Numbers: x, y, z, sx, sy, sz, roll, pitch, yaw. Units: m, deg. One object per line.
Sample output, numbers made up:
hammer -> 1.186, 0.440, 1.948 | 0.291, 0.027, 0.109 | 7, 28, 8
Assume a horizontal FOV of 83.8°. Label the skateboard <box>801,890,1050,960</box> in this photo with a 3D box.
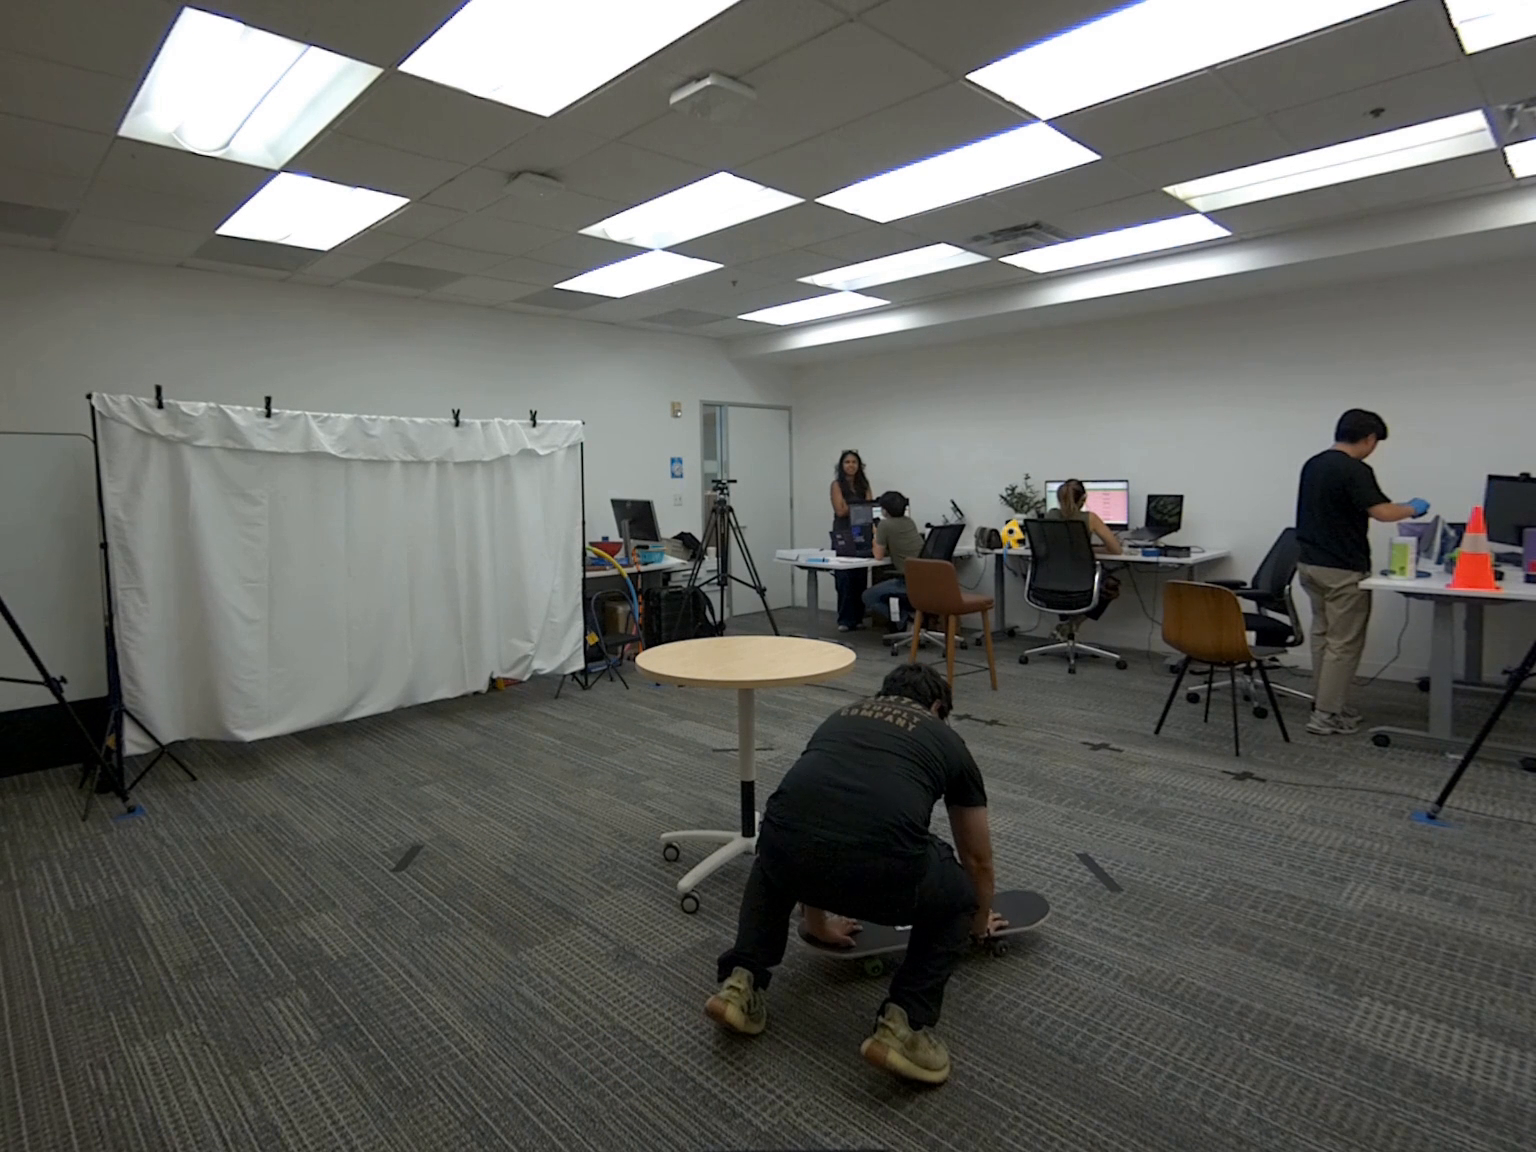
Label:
skateboard -> 0.468, 1.045, 2.517 | 0.777, 0.109, 0.197 | -3, 8, -12
